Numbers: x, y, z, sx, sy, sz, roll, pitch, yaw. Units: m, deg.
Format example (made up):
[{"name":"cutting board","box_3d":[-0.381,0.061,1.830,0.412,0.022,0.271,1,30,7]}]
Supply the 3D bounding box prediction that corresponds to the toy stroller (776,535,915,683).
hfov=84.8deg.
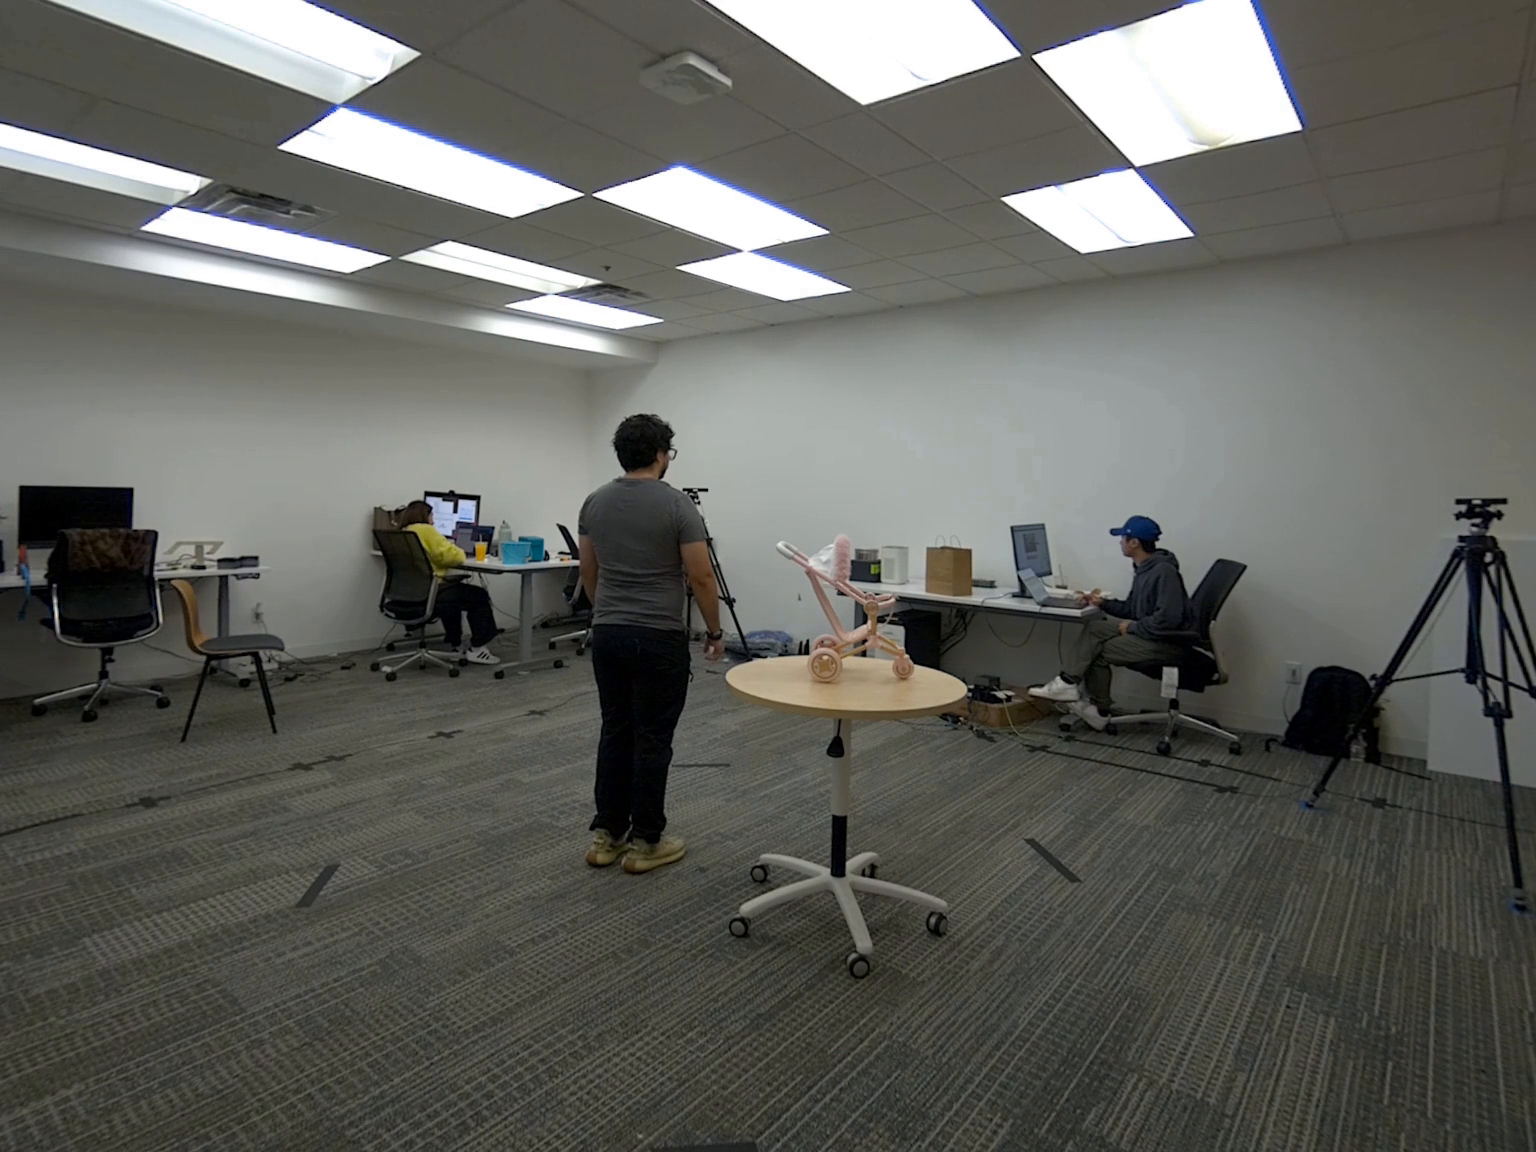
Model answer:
[{"name":"toy stroller","box_3d":[0.257,0.104,2.790,0.345,0.535,0.278,-14,0,12]}]
